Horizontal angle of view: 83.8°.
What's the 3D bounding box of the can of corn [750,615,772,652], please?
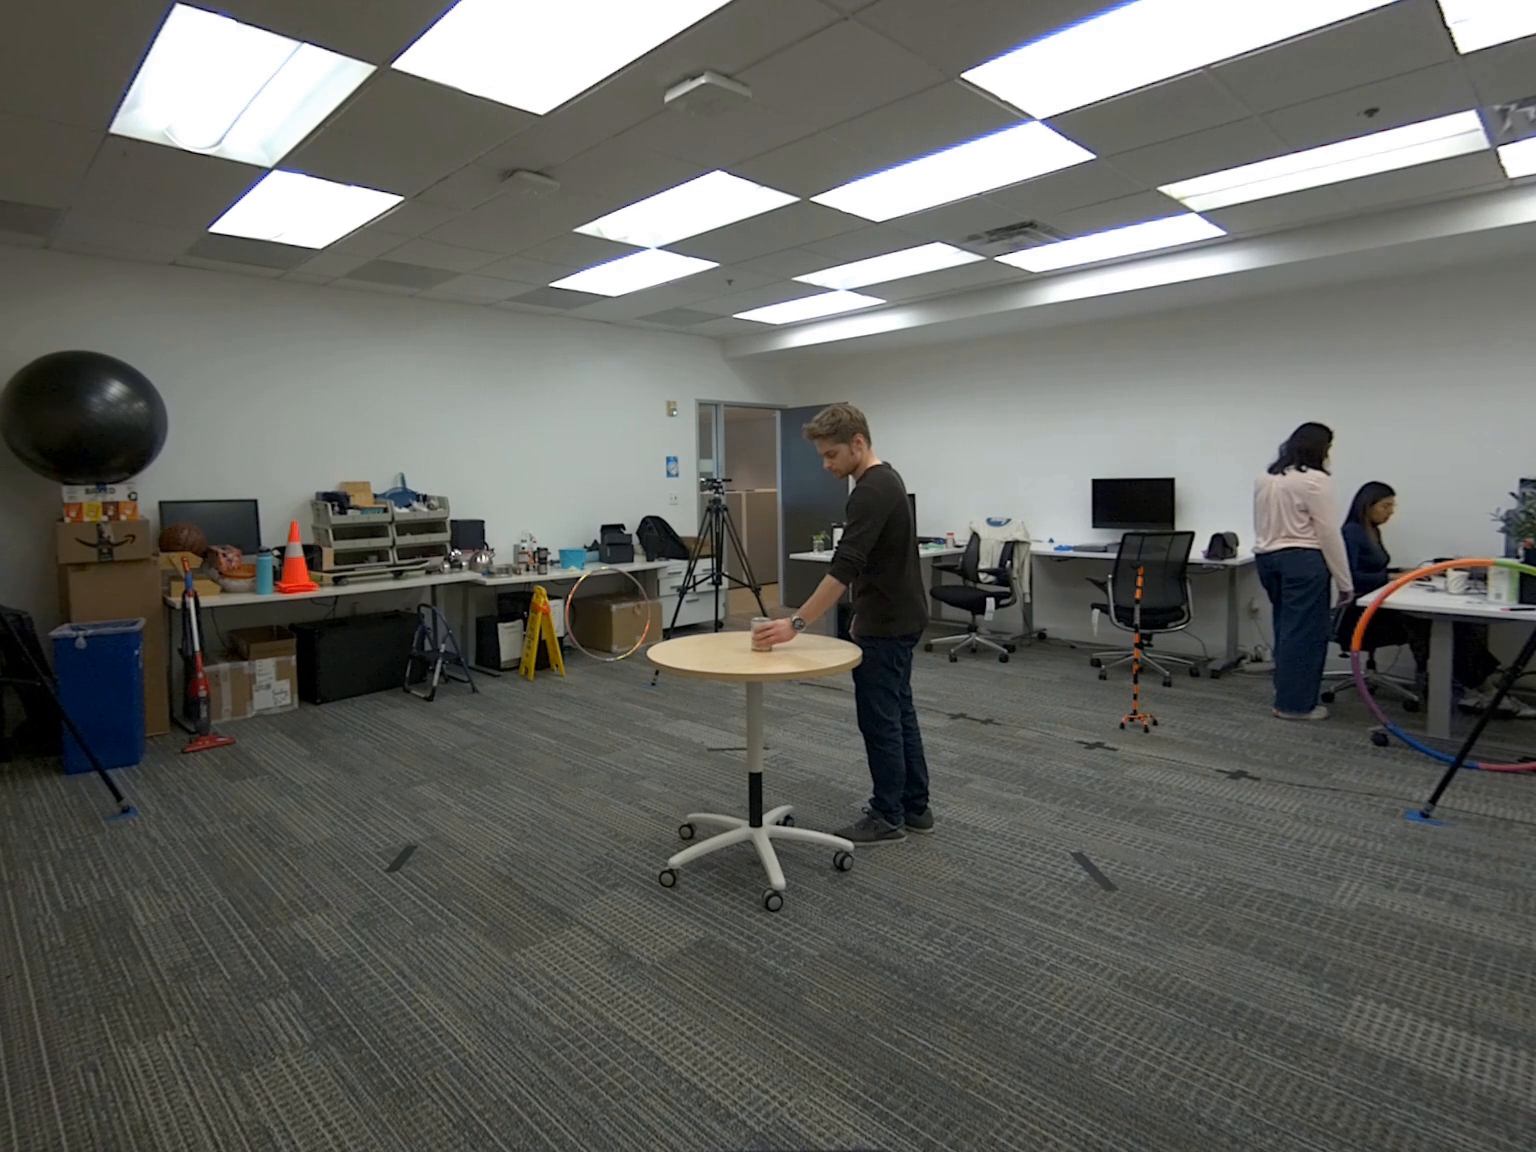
[{"bbox_3d":[-0.017,0.208,3.058,0.074,0.110,0.075,1,6,-2],"label":"can of corn"}]
